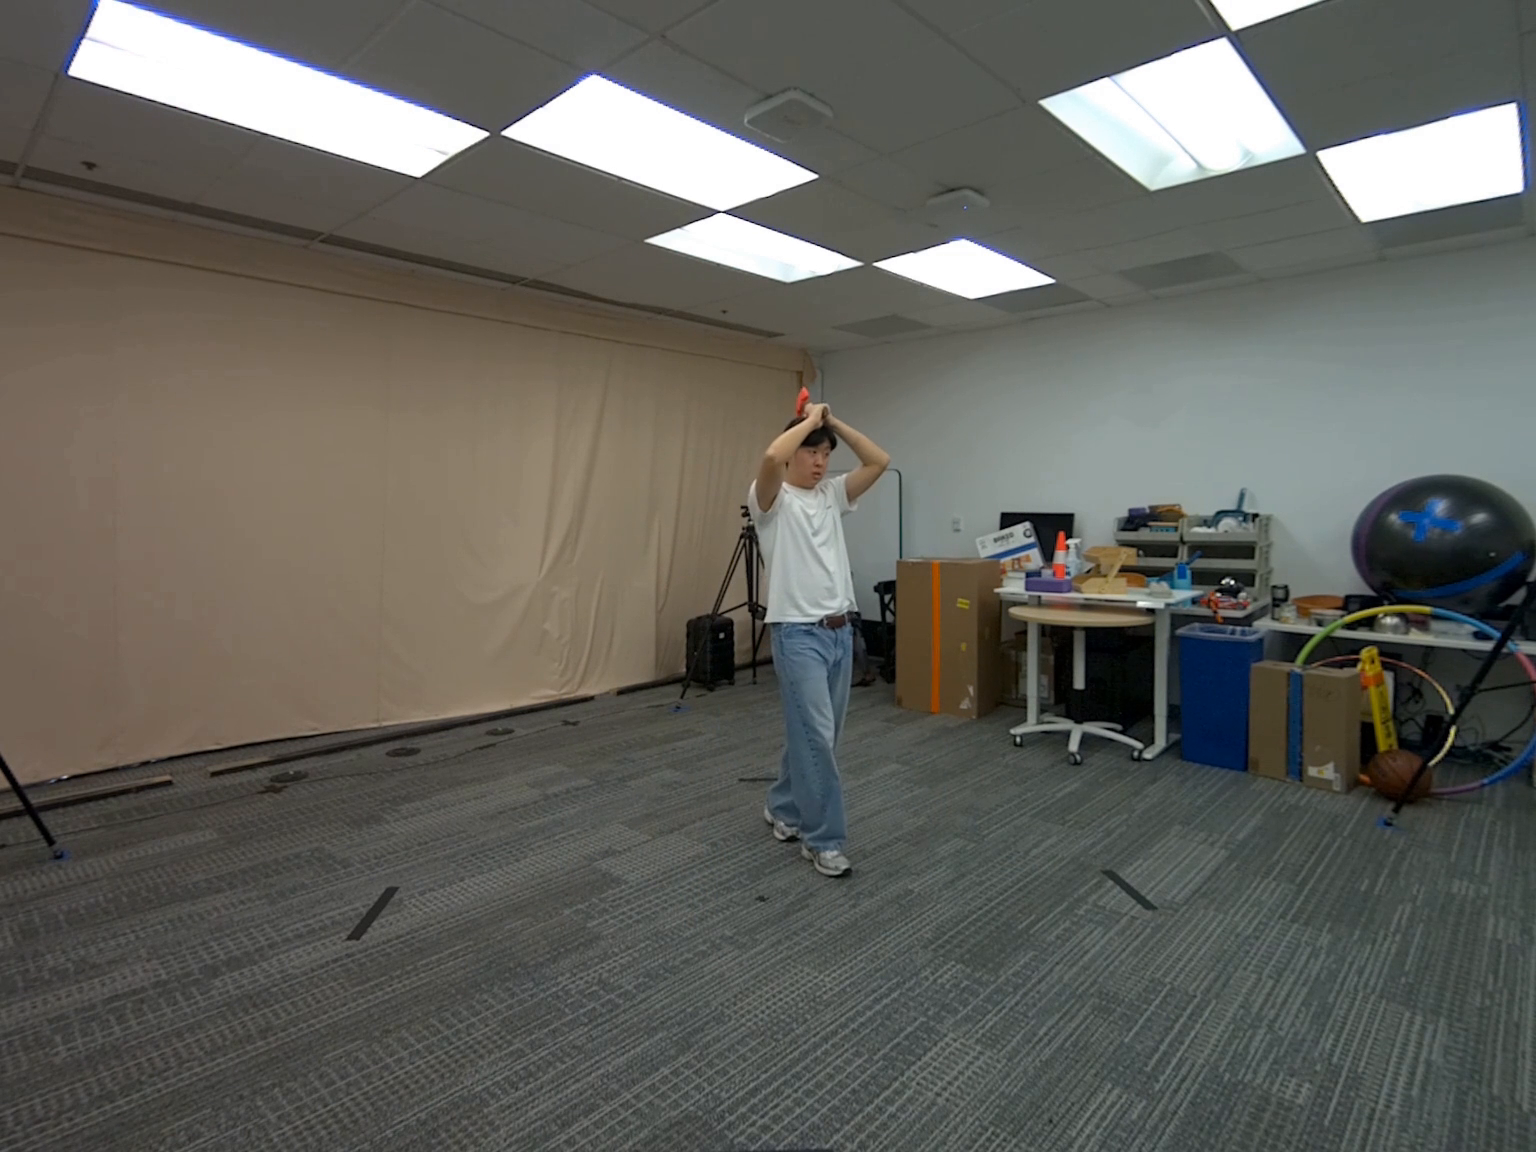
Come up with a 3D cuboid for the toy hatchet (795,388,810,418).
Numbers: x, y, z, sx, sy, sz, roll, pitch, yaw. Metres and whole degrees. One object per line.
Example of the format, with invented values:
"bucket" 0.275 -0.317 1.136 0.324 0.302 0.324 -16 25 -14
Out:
"toy hatchet" 0.178 -0.688 3.357 0.029 0.130 0.277 1 8 -22
